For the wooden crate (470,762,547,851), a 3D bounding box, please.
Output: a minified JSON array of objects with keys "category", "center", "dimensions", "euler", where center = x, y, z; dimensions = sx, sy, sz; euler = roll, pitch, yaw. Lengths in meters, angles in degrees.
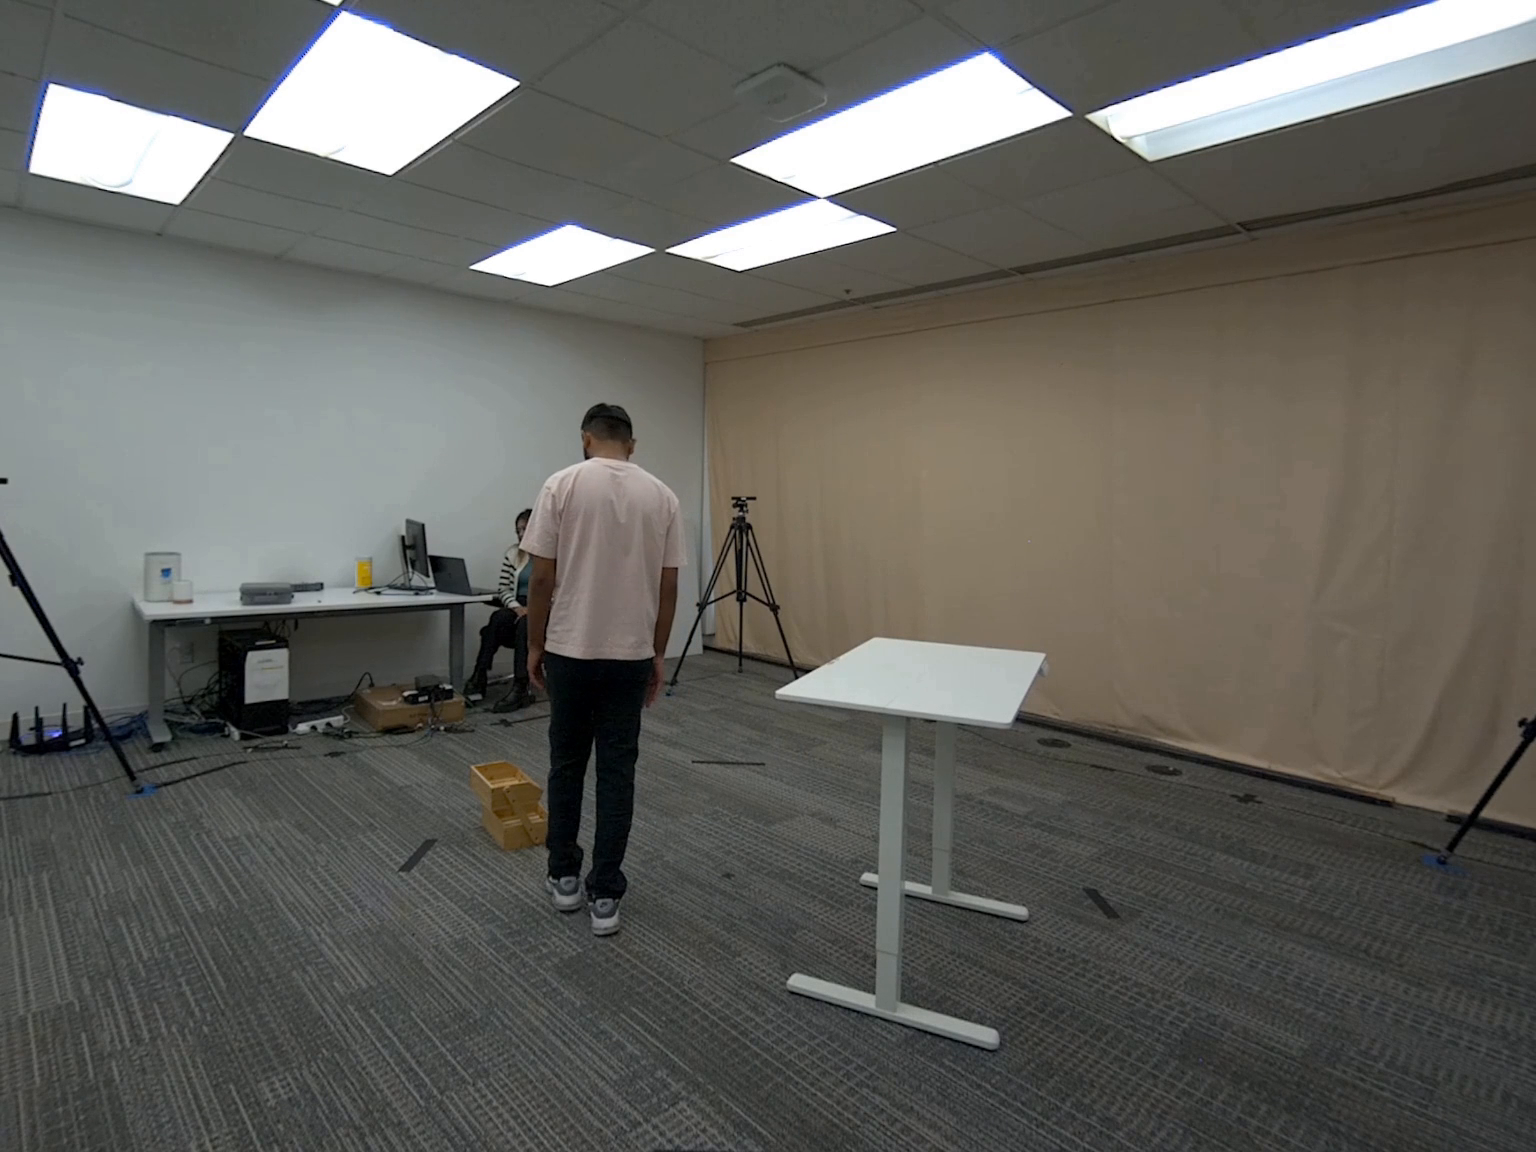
[{"category":"wooden crate","center":[-1.038,0.921,3.444],"dimensions":[0.295,0.272,0.332],"euler":[-2,6,-34]}]
